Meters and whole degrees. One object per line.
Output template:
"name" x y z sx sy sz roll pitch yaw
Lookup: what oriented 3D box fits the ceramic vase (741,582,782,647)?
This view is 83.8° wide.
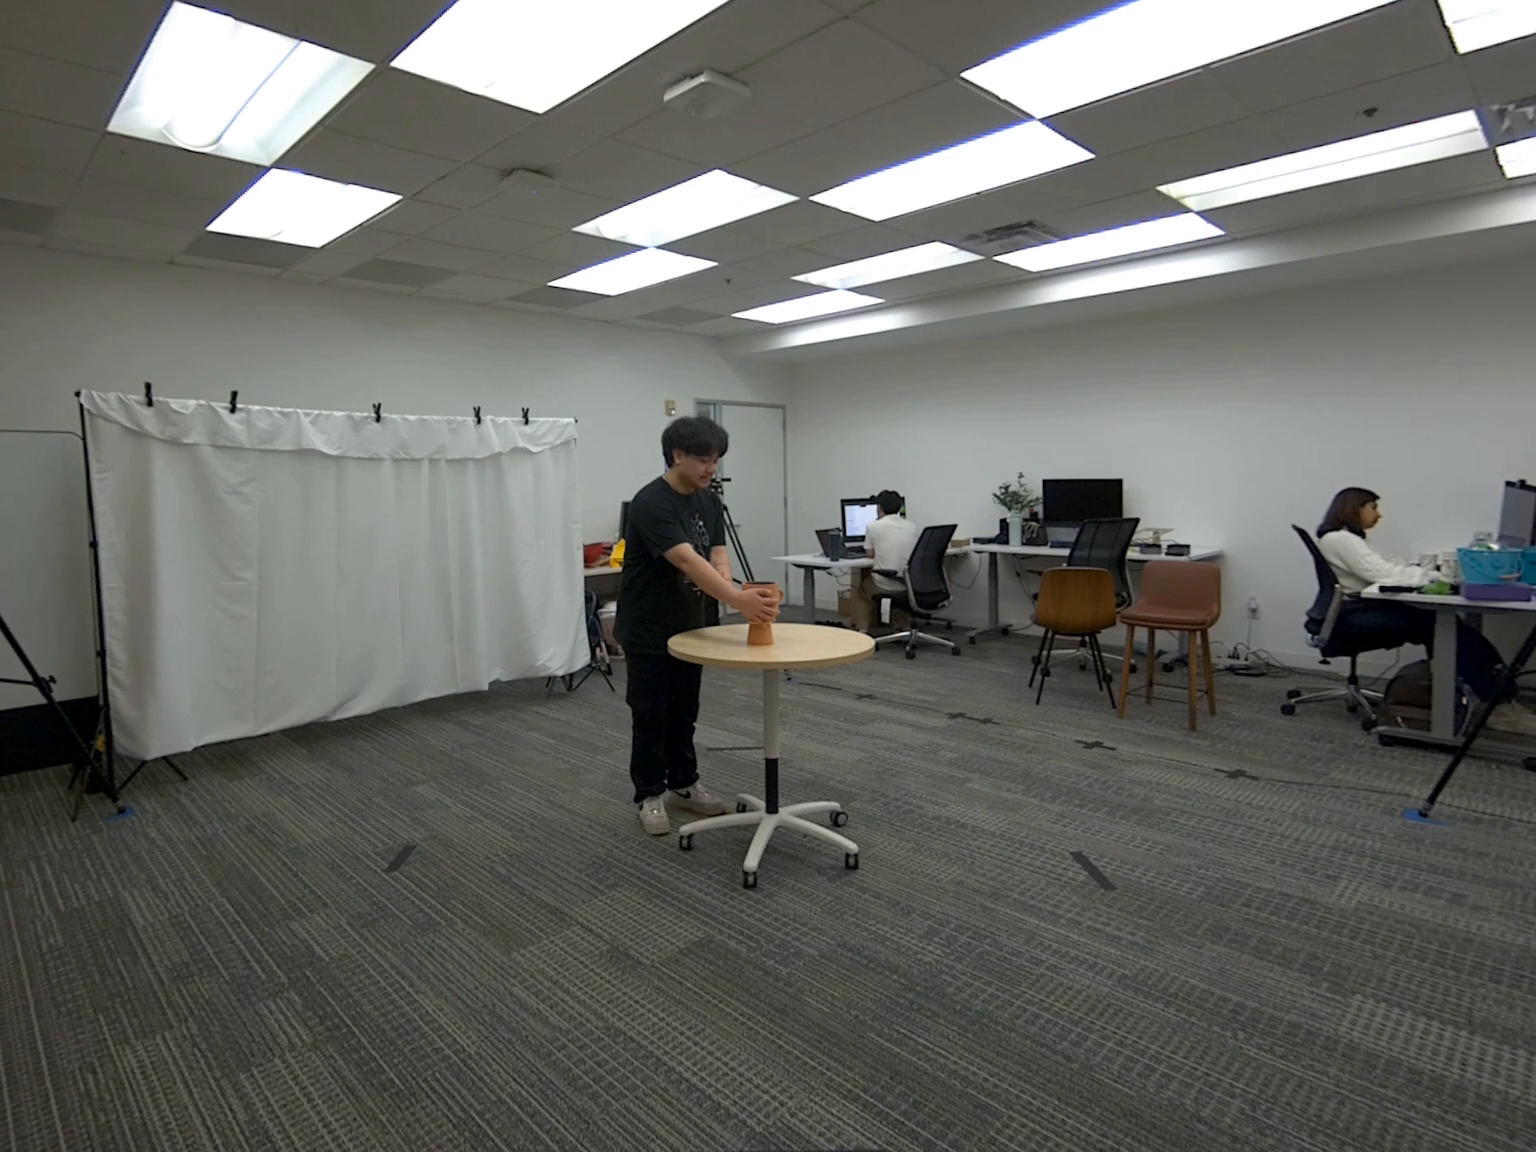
"ceramic vase" -0.024 0.137 3.121 0.131 0.219 0.163 -1 3 -32
